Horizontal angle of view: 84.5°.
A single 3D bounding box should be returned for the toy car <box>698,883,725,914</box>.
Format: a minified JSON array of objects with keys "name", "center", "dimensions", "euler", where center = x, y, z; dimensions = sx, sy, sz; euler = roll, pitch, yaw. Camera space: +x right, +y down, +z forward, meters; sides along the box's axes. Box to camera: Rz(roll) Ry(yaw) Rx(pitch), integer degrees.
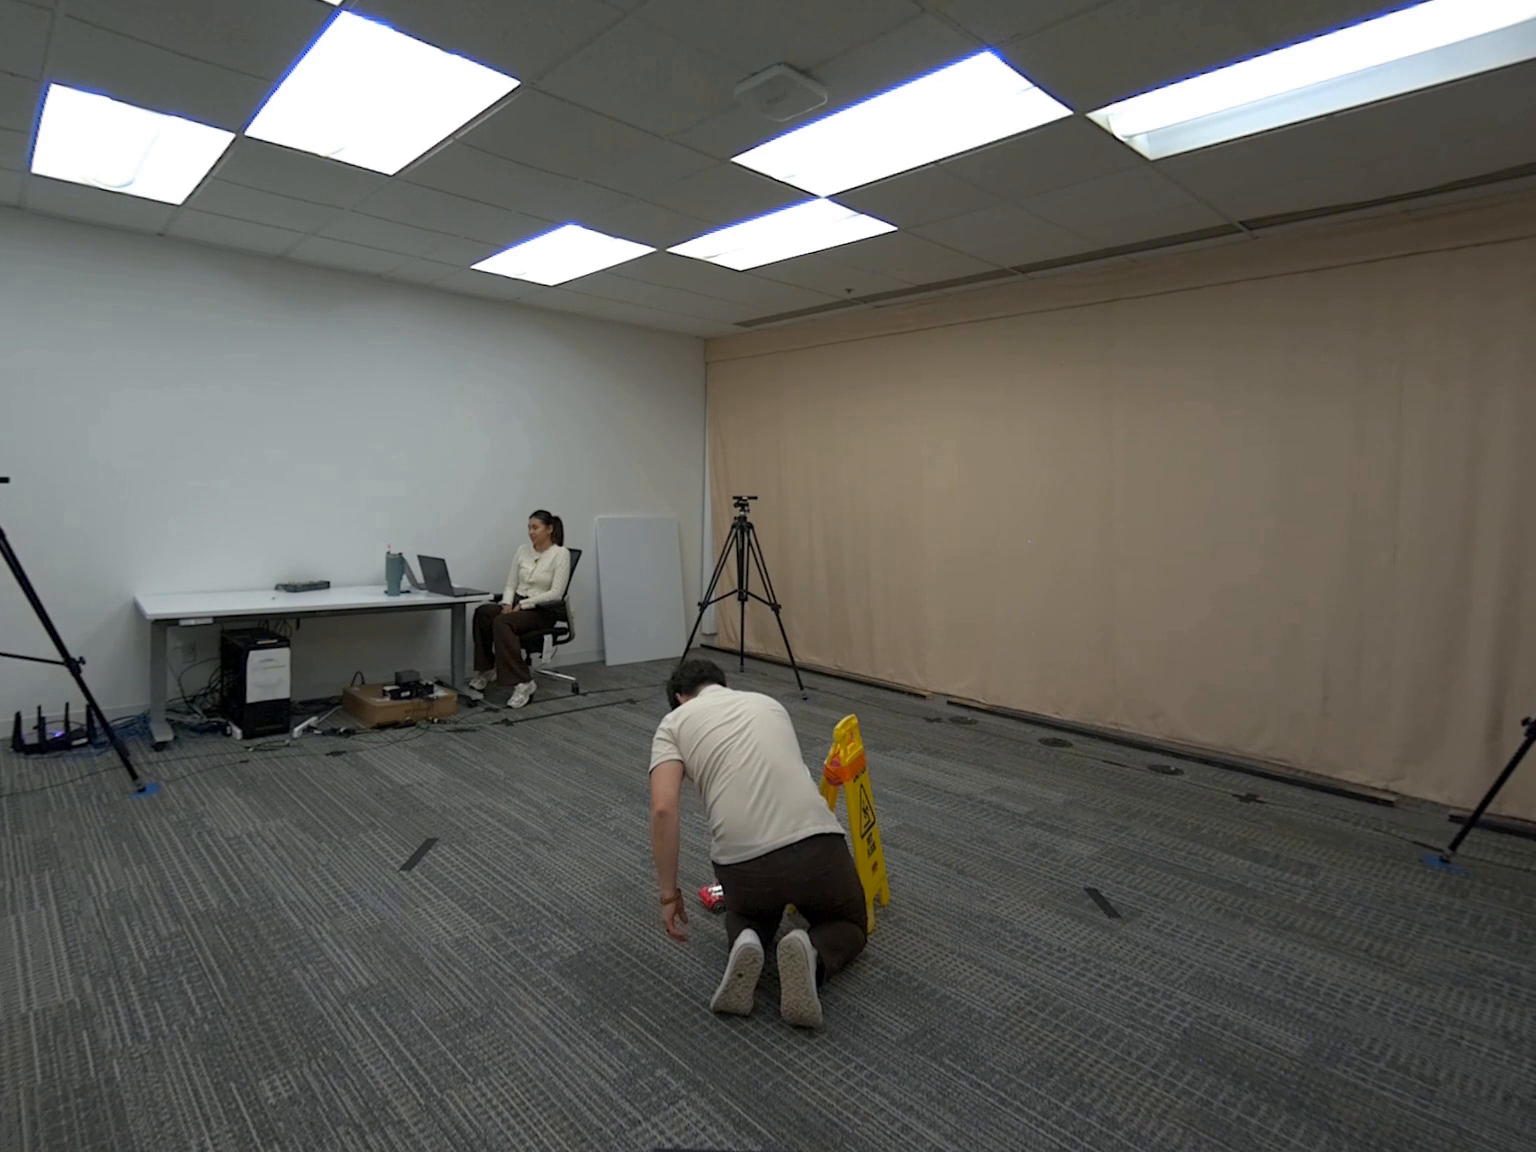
[{"name":"toy car","center":[-0.108,1.087,2.906],"dimensions":[0.251,0.082,0.133],"euler":[-13,10,-27]}]
